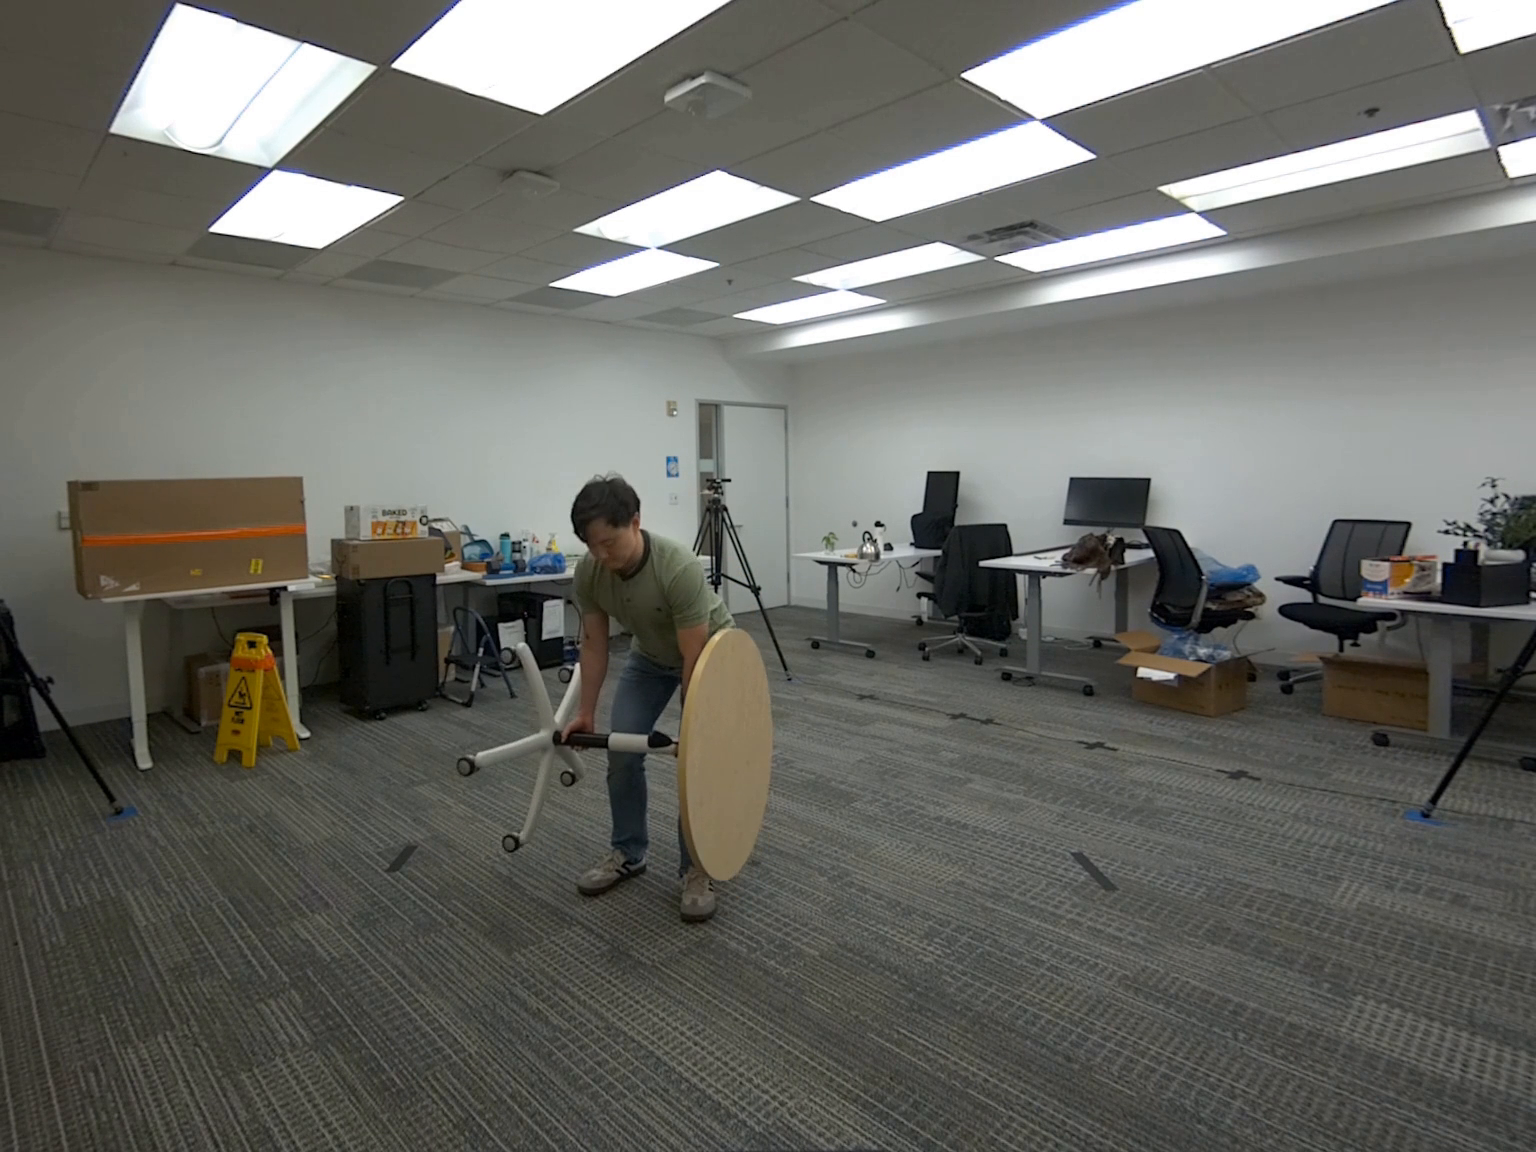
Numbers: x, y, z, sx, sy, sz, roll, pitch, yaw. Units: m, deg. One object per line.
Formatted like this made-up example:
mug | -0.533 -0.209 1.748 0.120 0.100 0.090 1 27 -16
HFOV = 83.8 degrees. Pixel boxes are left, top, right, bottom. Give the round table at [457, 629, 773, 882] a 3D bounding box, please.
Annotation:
round table | -0.482 0.562 2.833 0.809 0.761 0.753 -2 4 20
